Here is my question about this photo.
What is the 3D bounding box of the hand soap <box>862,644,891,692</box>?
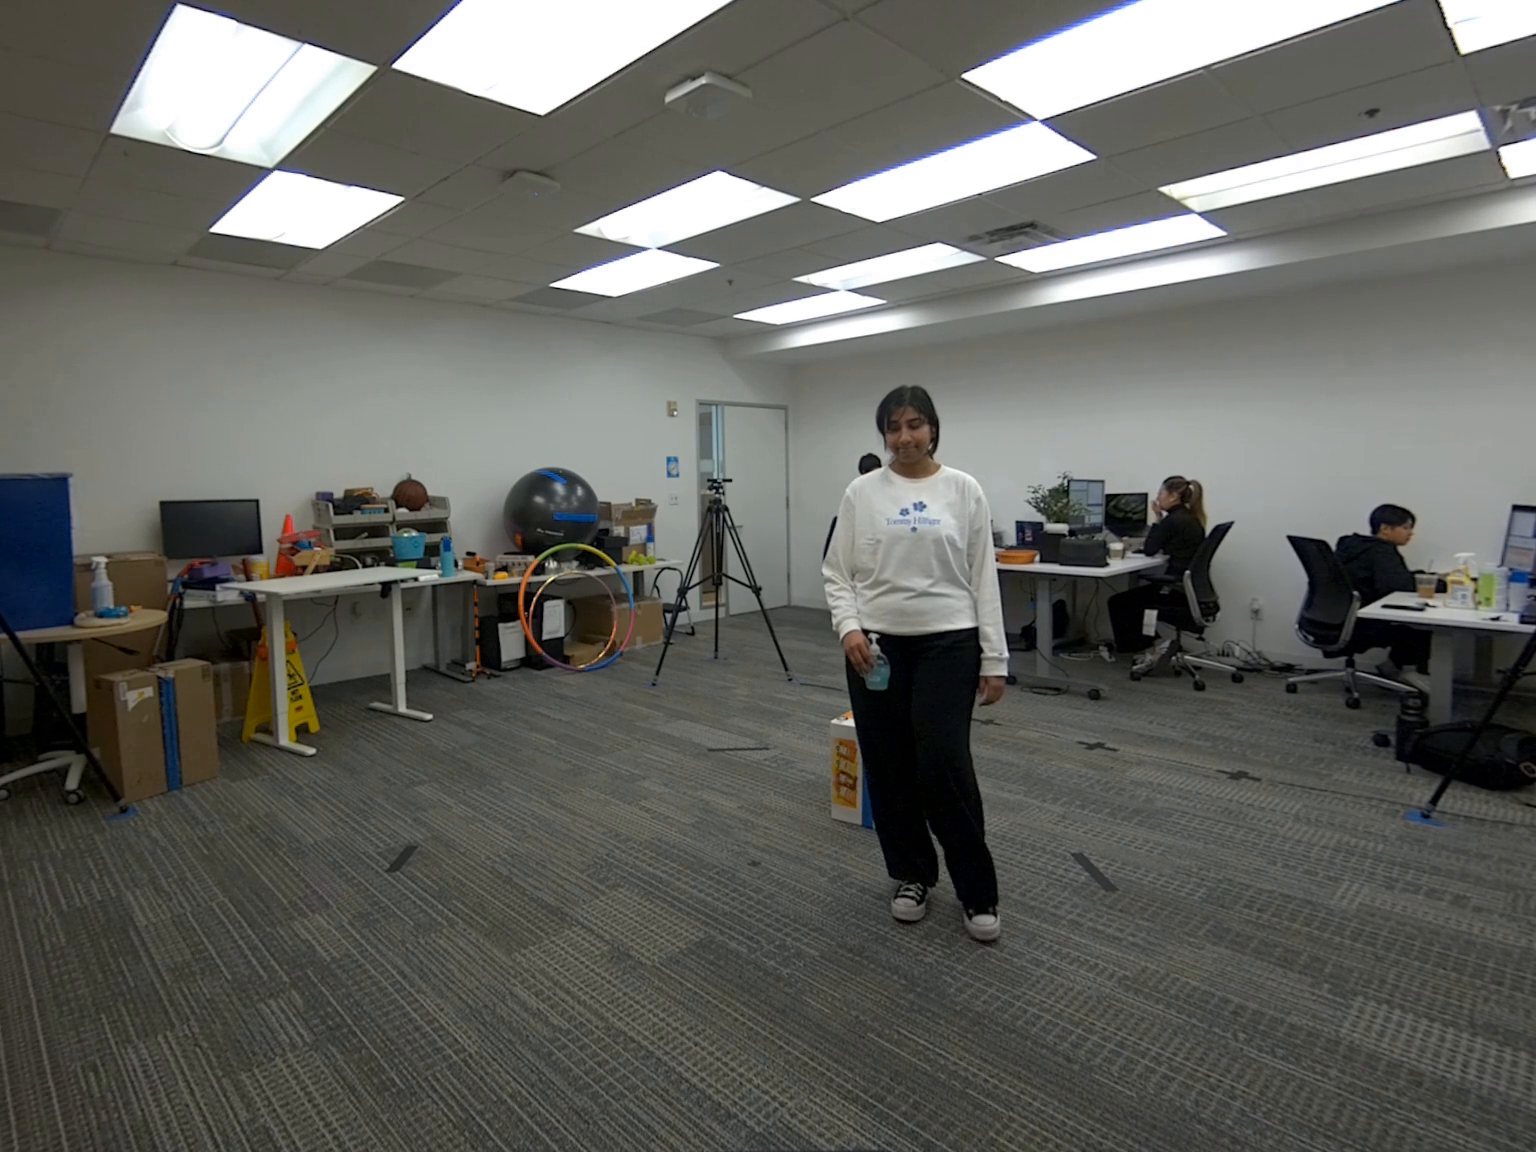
[{"bbox_3d":[0.332,0.261,2.599,0.086,0.167,0.043,2,4,21],"label":"hand soap"}]
